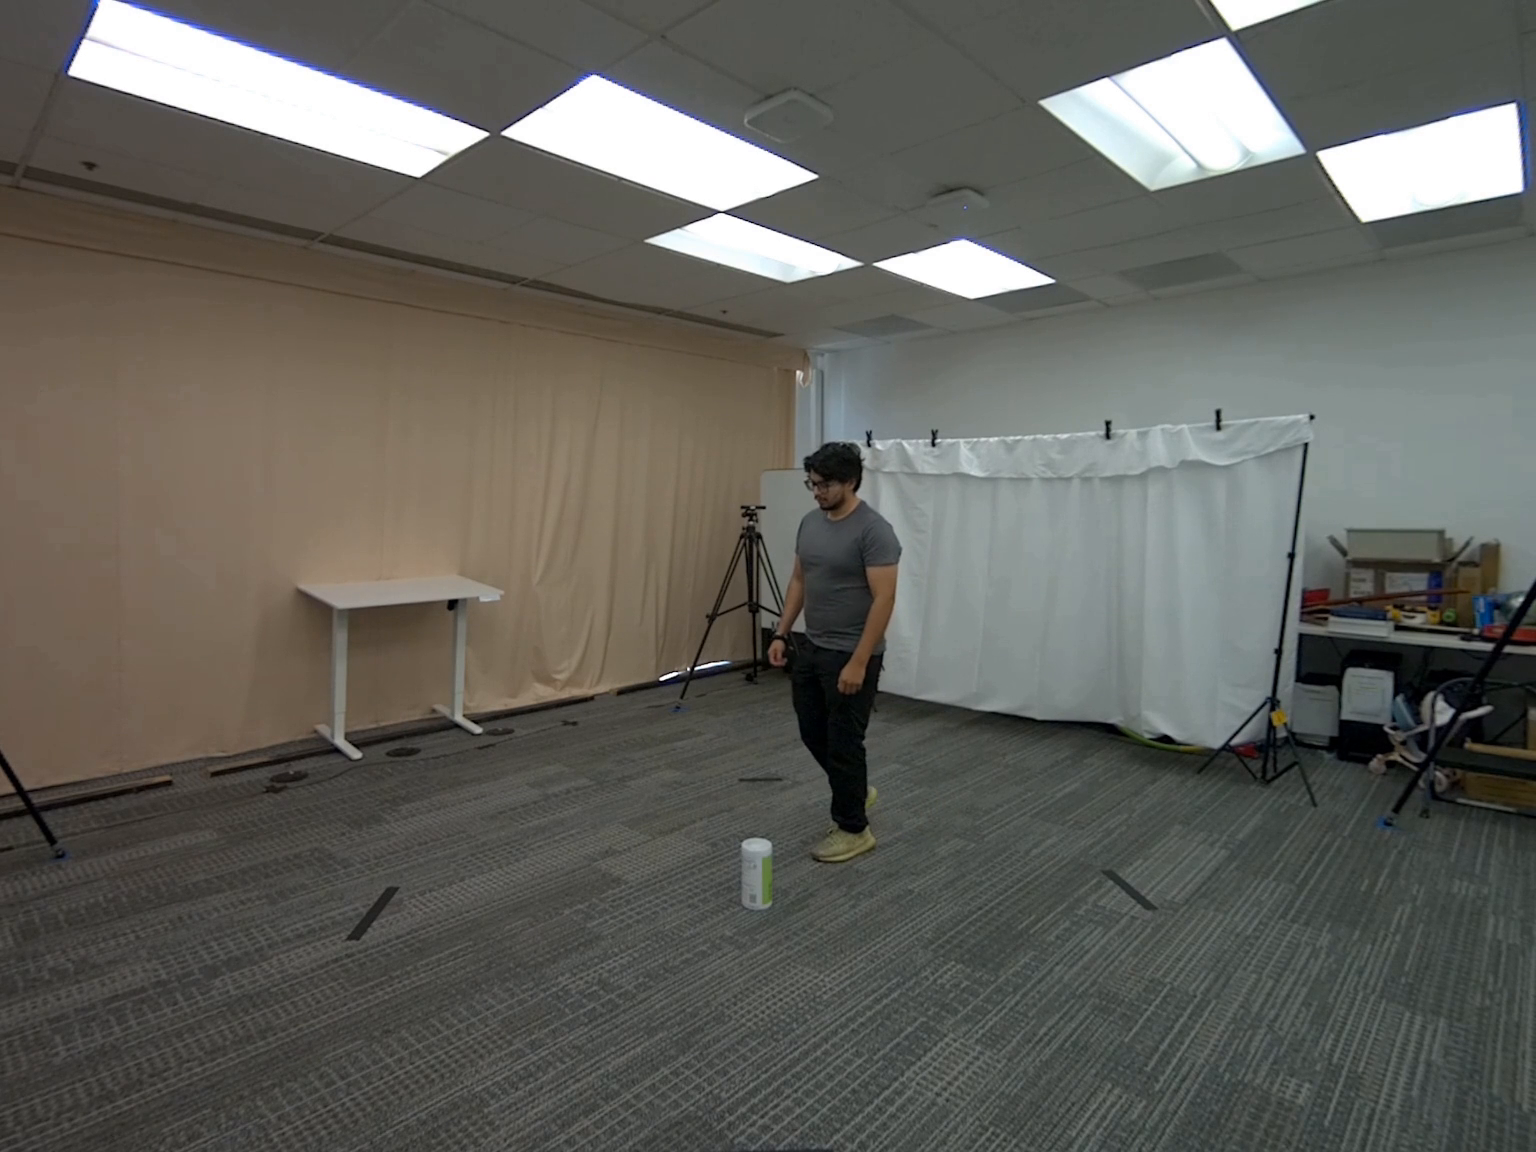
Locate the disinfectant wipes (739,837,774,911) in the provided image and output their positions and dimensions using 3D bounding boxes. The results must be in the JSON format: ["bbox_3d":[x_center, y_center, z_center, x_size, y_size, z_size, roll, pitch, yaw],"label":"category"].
[{"bbox_3d":[-0.038,1.041,2.934,0.118,0.217,0.118,0,4,-2],"label":"disinfectant wipes"}]
